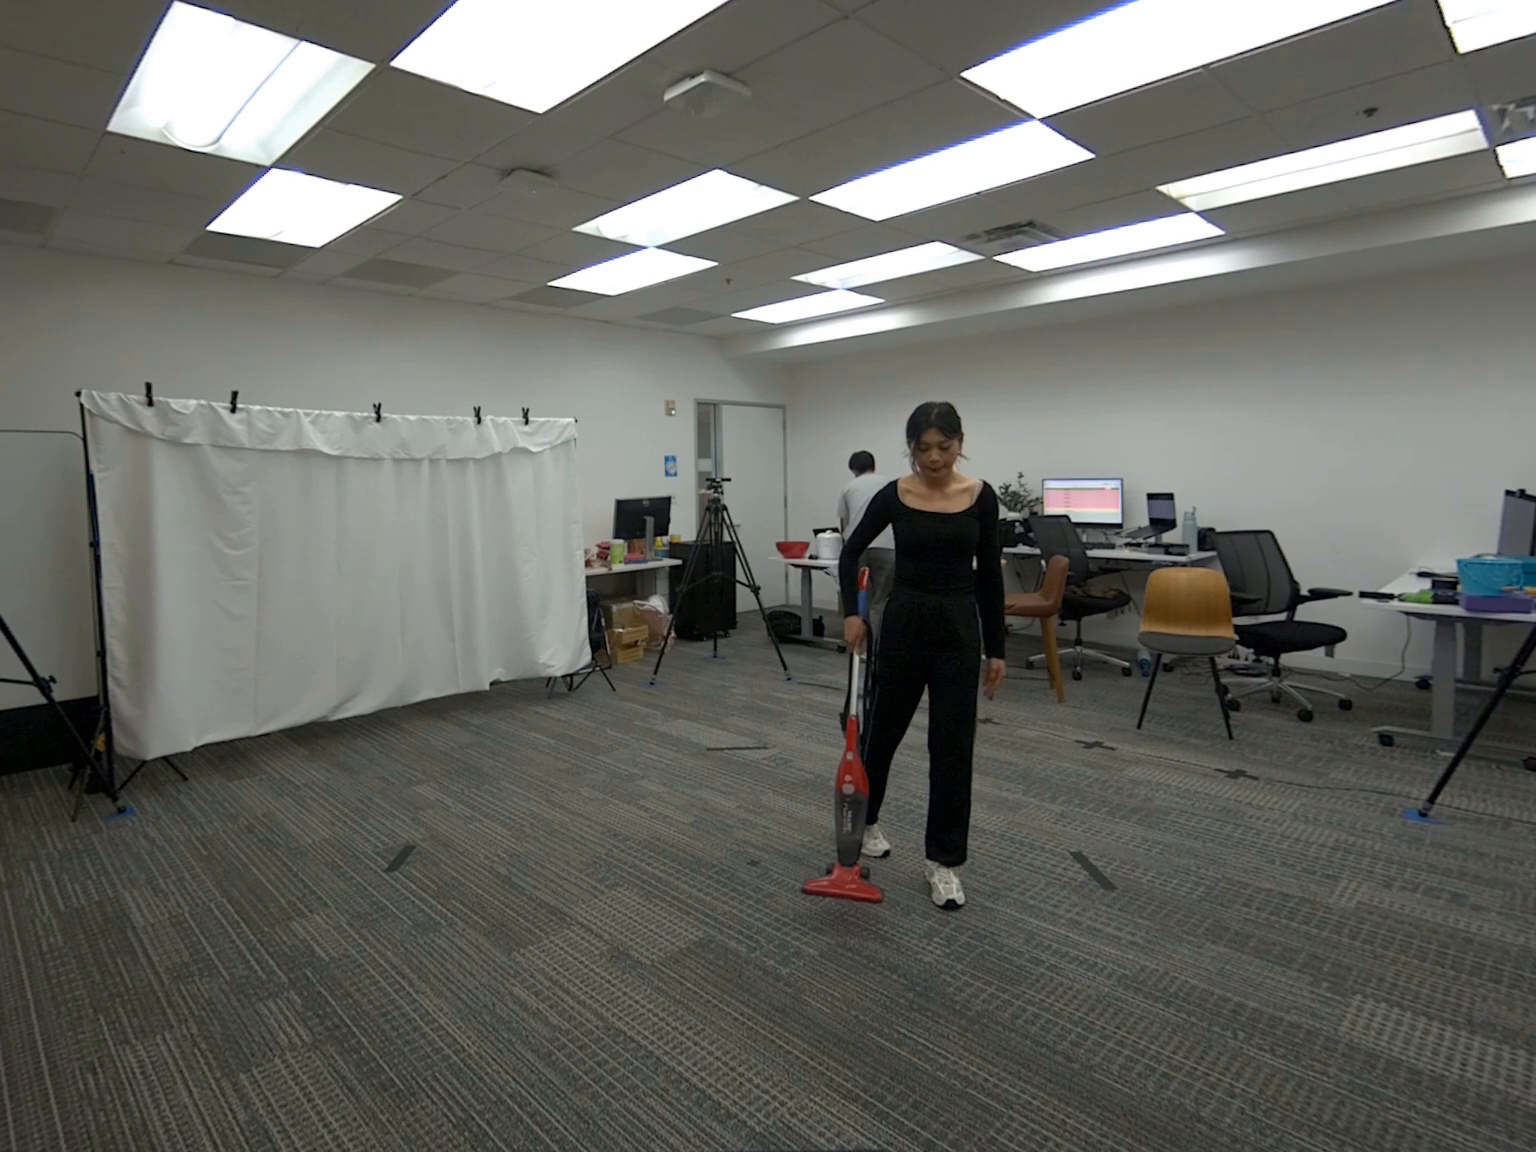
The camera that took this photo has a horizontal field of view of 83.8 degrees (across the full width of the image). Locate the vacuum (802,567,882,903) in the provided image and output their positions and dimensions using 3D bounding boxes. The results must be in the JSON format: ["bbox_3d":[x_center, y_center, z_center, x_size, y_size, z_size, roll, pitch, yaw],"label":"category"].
[{"bbox_3d":[0.297,0.486,2.846,0.257,1.066,0.139,-2,-22,21],"label":"vacuum"}]
